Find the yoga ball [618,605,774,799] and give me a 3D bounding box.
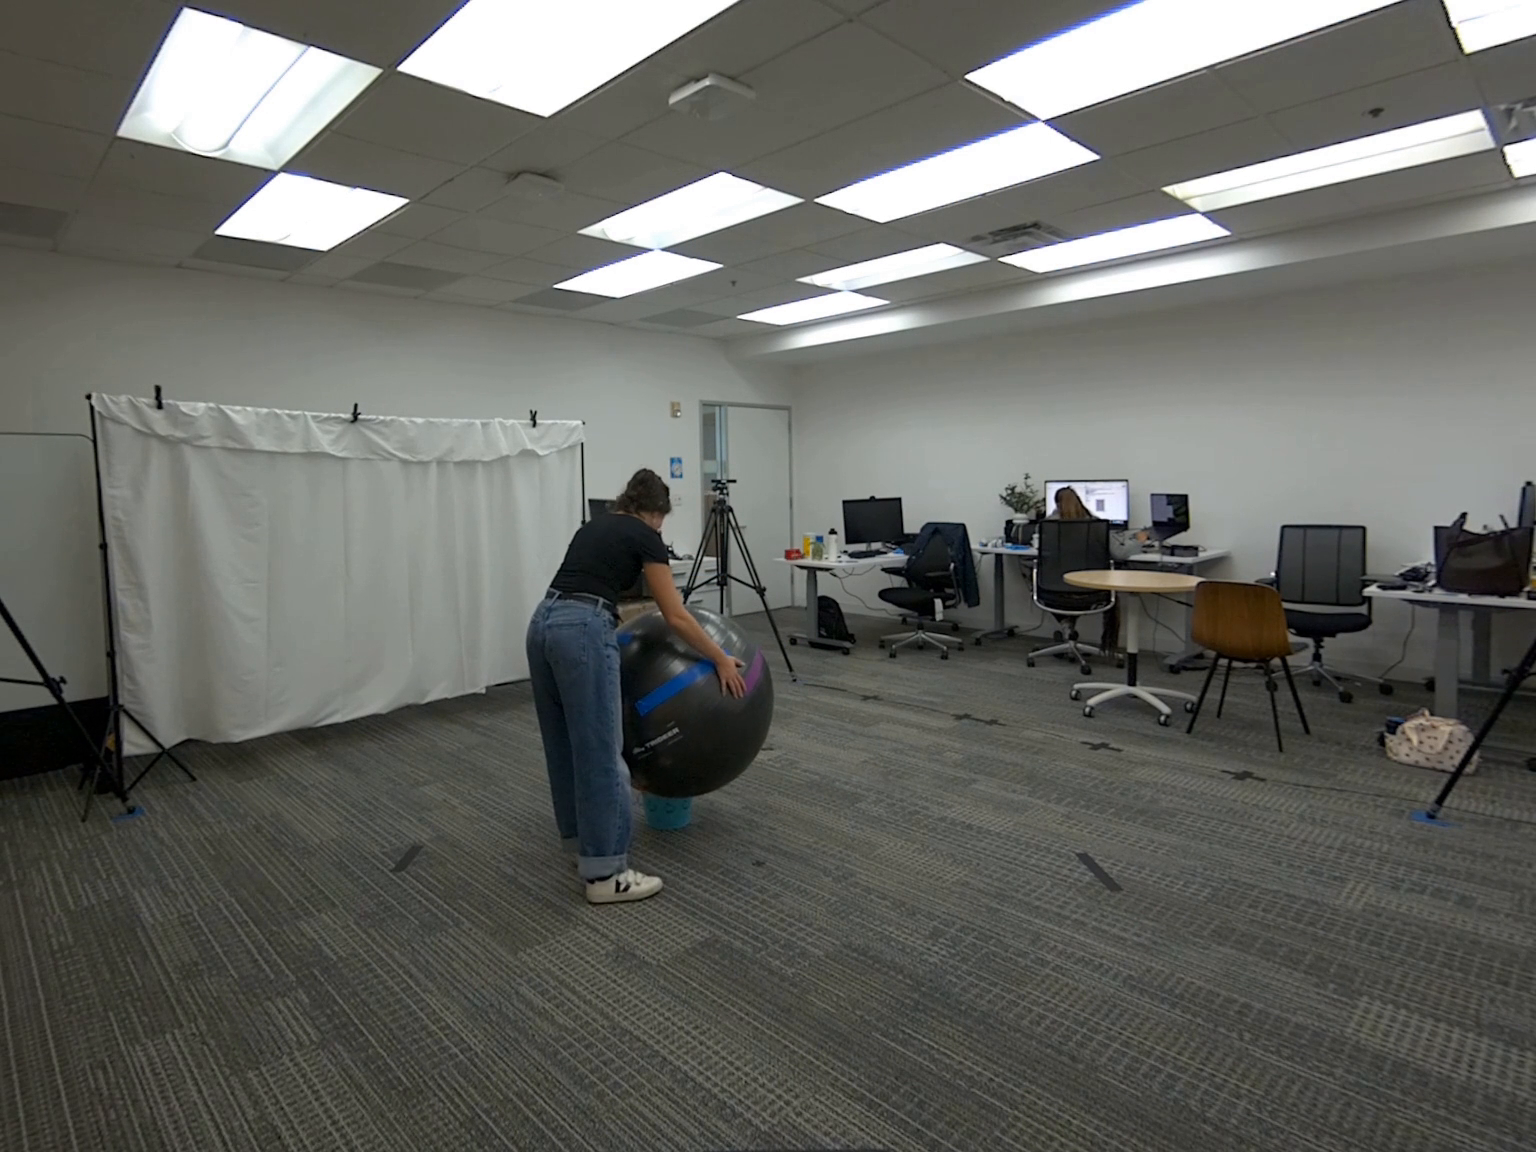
[{"bbox_3d":[-0.342,0.494,3.413,0.757,0.755,0.762,-1,5,-2],"label":"yoga ball"}]
